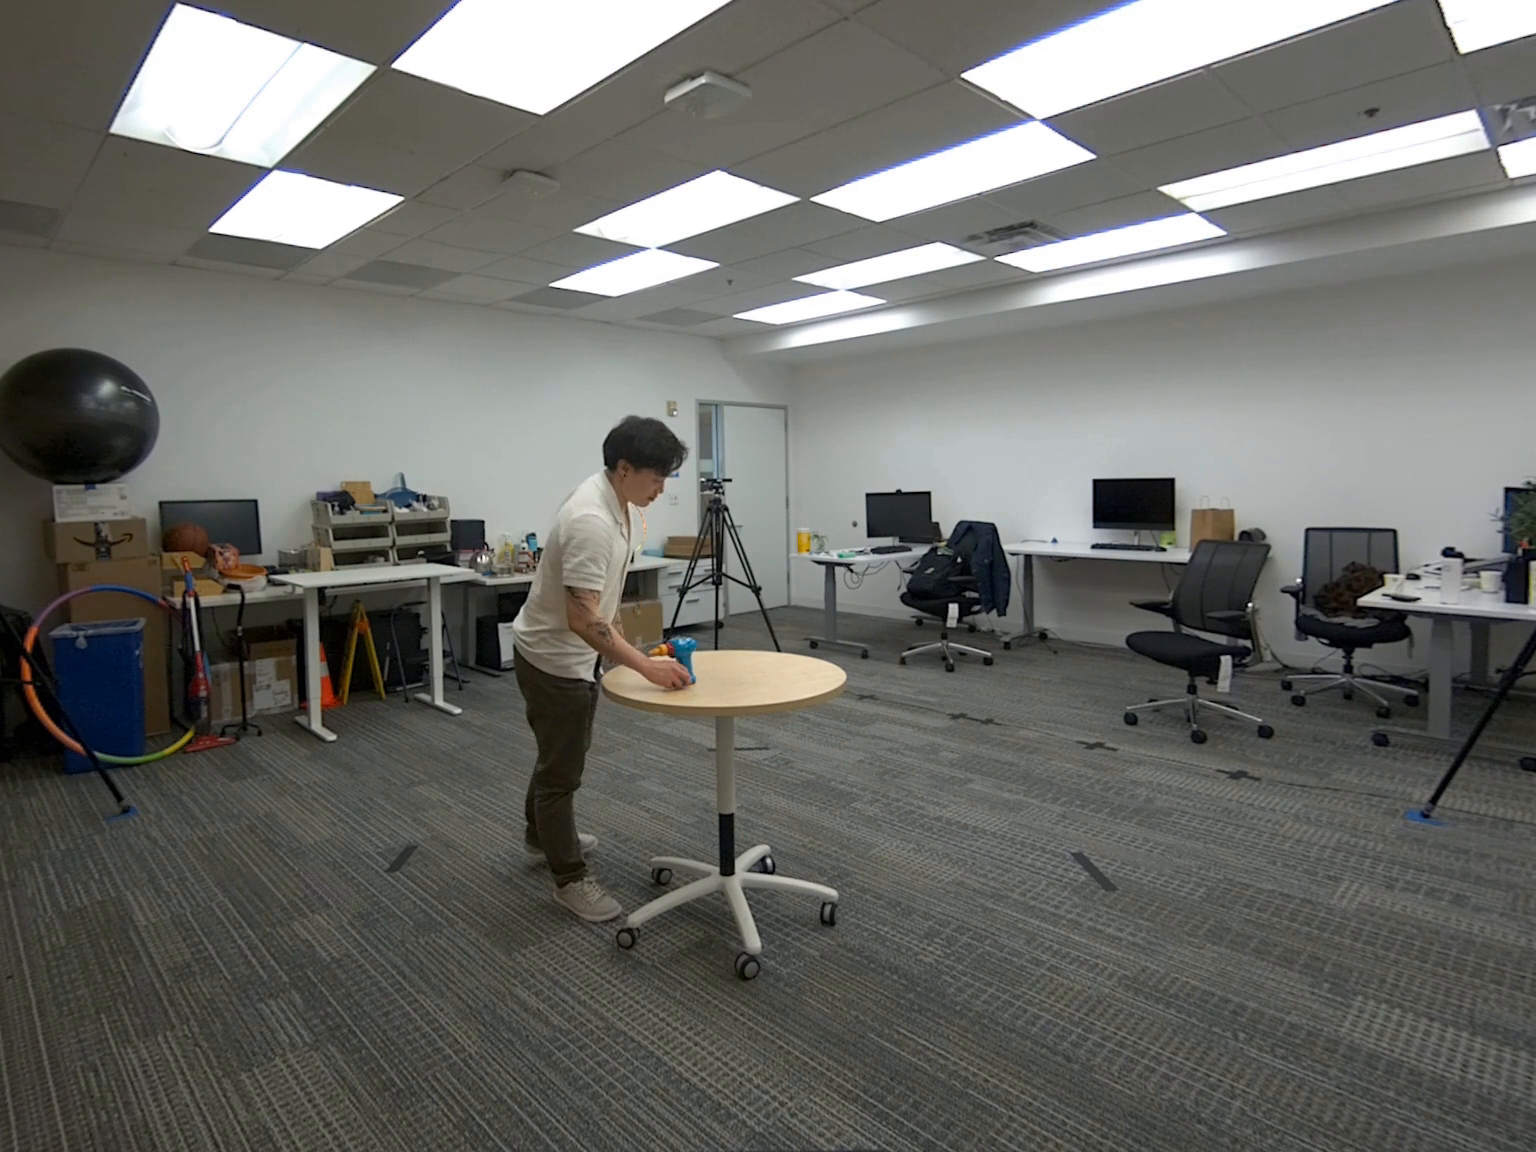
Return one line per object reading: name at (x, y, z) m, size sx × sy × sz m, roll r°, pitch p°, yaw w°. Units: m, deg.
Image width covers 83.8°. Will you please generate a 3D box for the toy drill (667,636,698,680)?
toy drill at (-0.277, 0.257, 2.548) m, size 0.166 × 0.145 × 0.063 m, roll -6°, pitch 8°, yaw -34°
